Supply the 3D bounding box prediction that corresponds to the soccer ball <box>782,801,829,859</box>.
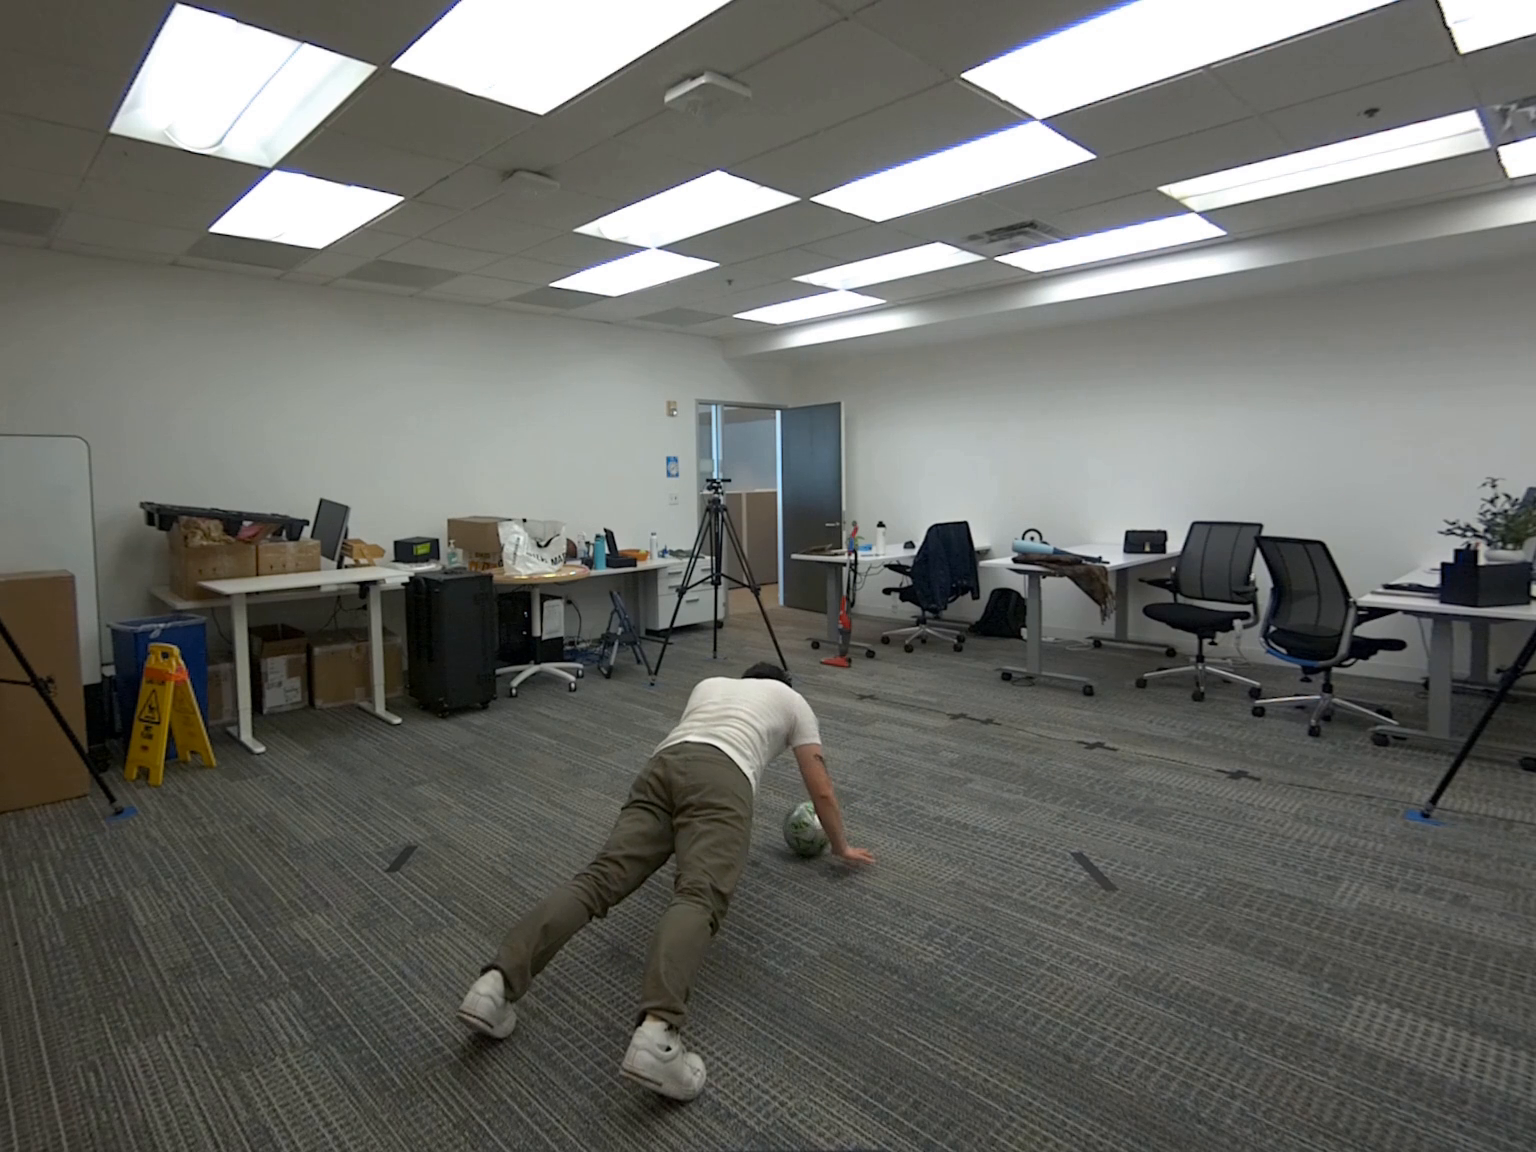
[{"bbox_3d":[0.149,0.933,3.175,0.187,0.187,0.188,-1,5,-2],"label":"soccer ball"}]
